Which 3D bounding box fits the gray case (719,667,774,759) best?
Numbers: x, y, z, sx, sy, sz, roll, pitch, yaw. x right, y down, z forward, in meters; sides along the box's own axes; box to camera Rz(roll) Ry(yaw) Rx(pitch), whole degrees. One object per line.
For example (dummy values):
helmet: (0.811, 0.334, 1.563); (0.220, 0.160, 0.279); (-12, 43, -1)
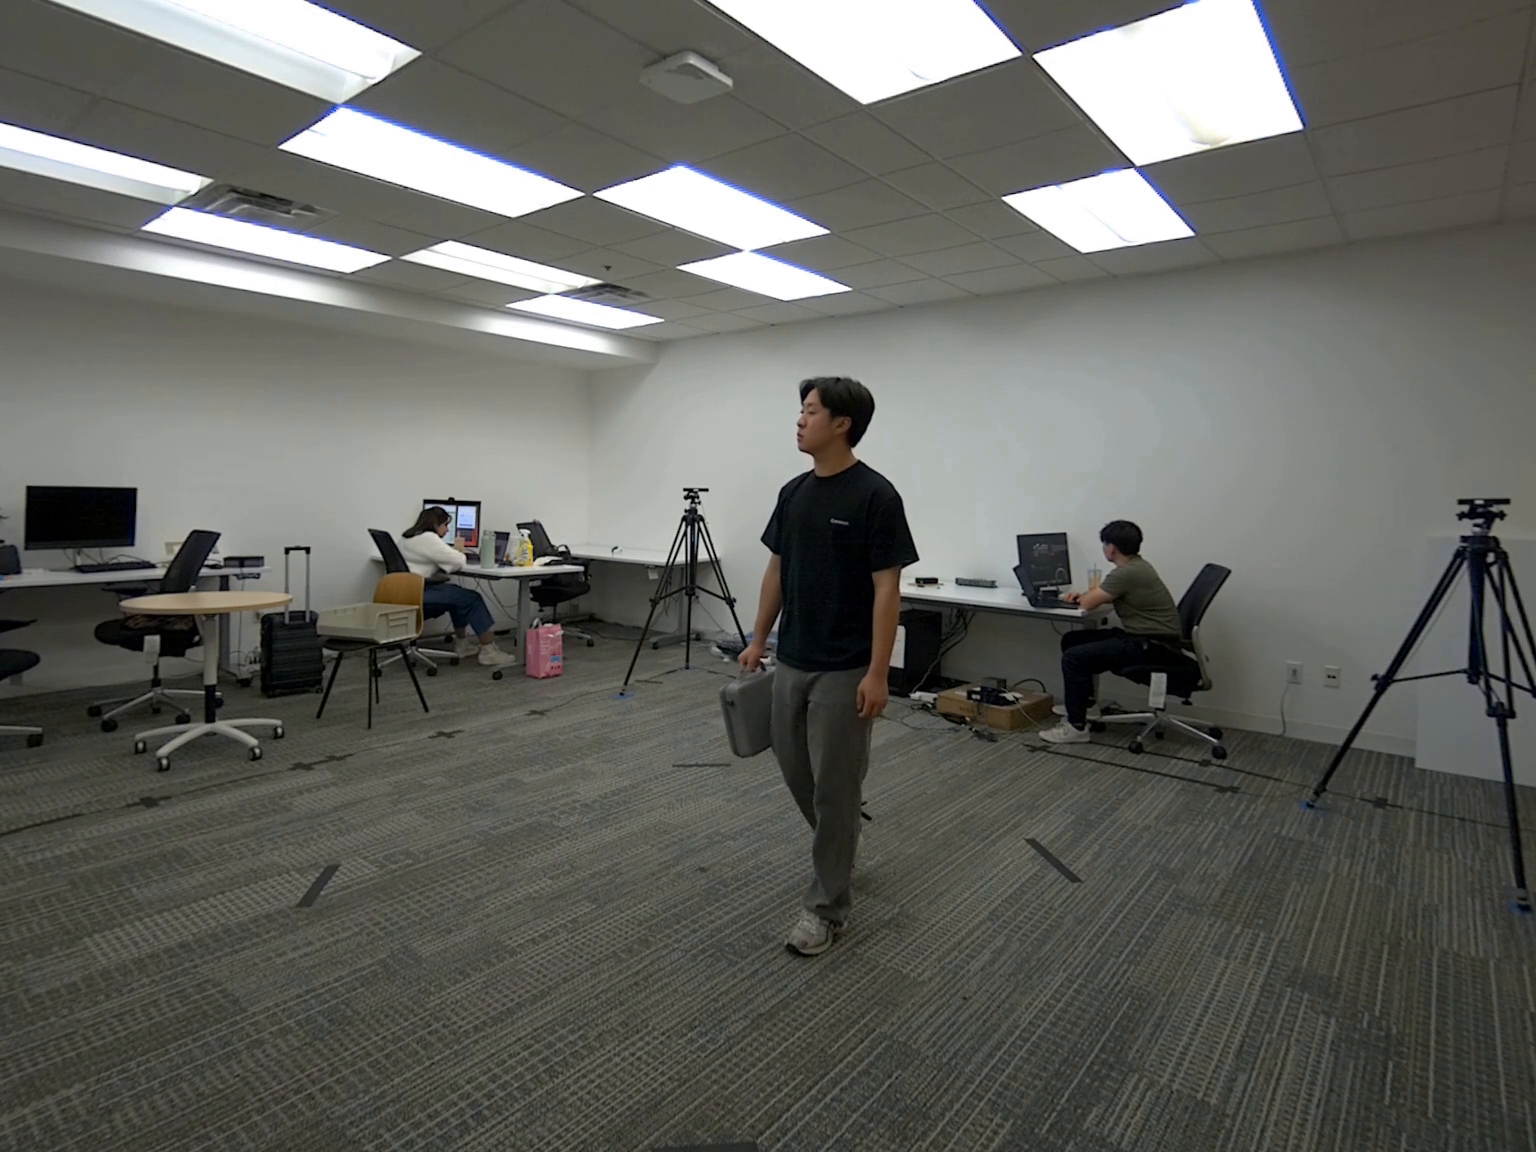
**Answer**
gray case: (-0.042, 0.446, 2.928); (0.257, 0.285, 0.106); (-16, 7, -42)
